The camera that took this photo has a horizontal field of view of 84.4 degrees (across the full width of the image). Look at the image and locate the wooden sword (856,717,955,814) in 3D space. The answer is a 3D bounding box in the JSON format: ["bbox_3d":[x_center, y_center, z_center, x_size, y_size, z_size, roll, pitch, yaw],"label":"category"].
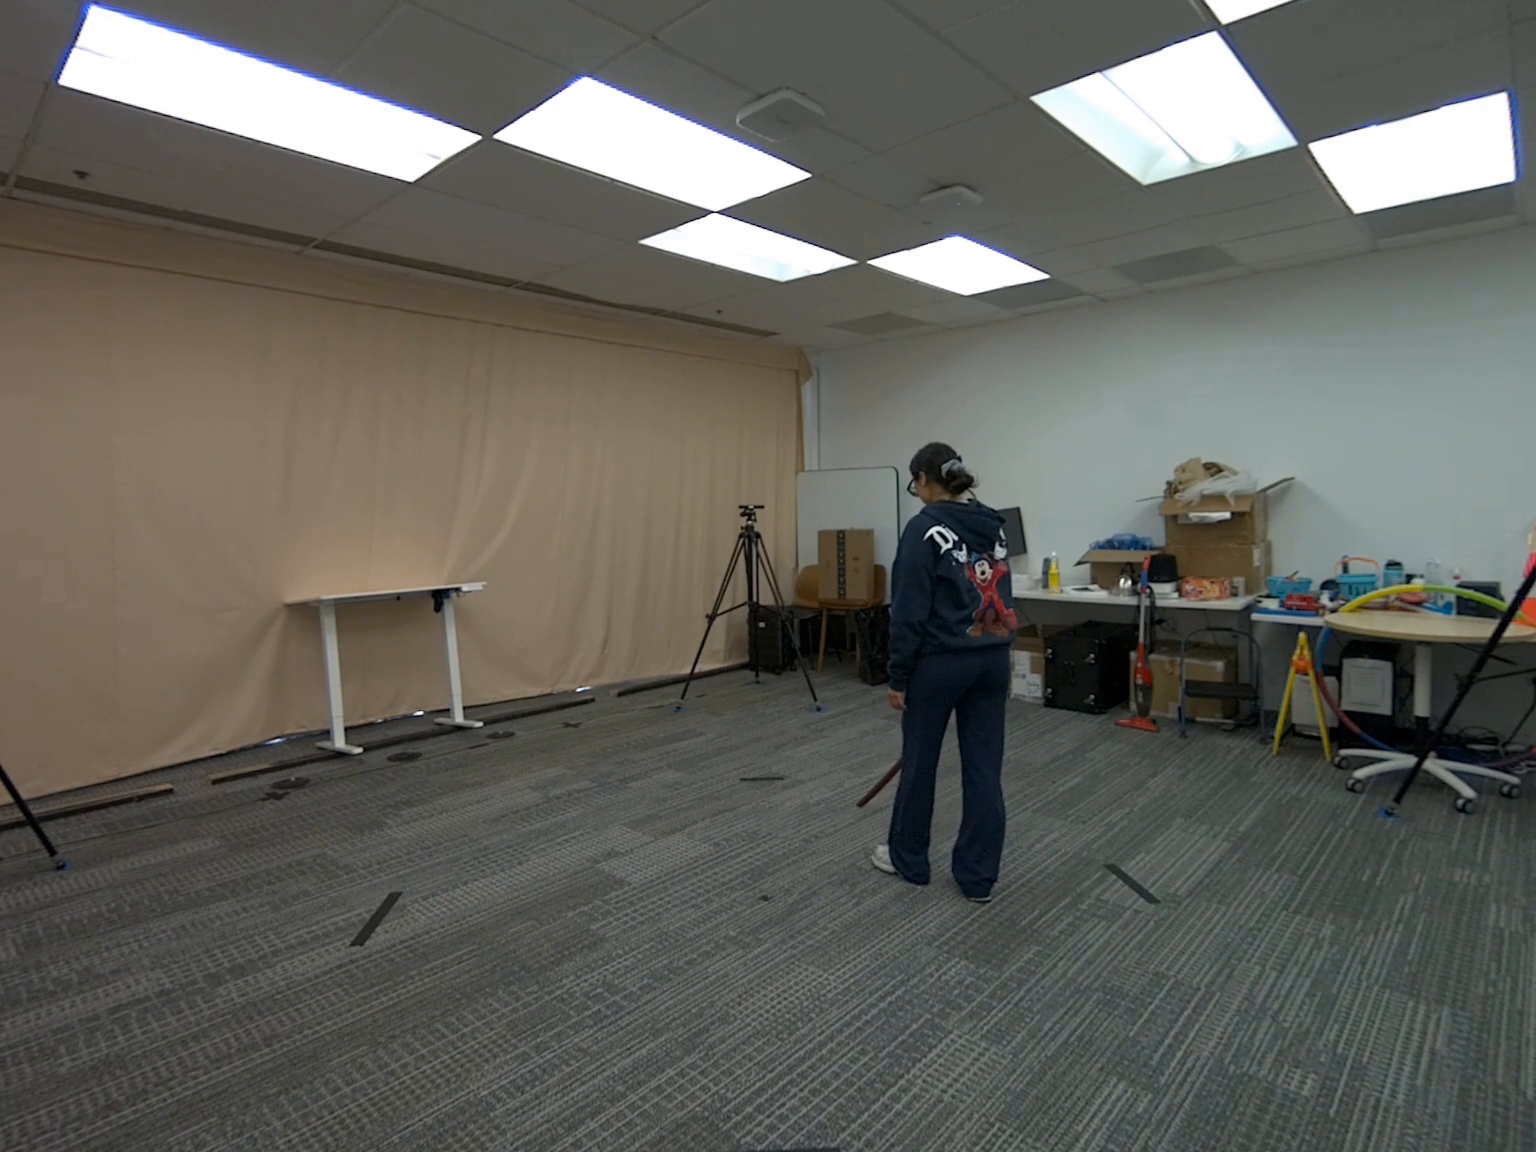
[{"bbox_3d":[0.654,0.705,3.567,0.052,1.025,0.023,46,37,18],"label":"wooden sword"}]
